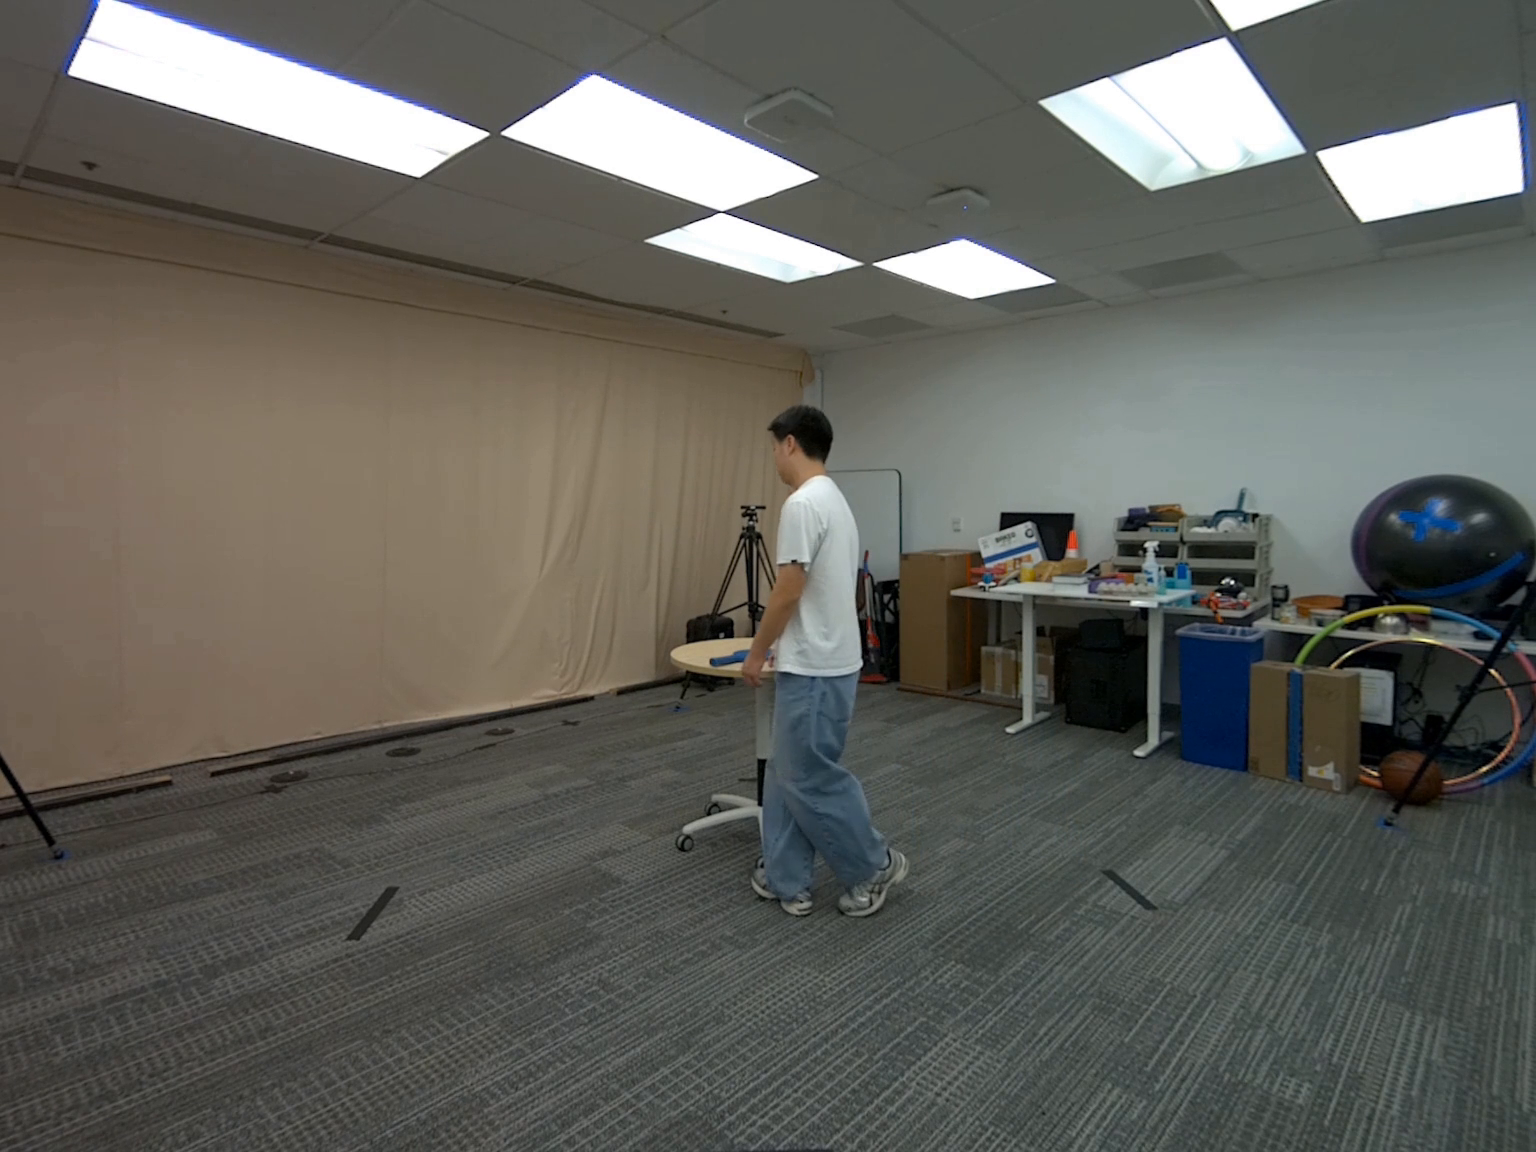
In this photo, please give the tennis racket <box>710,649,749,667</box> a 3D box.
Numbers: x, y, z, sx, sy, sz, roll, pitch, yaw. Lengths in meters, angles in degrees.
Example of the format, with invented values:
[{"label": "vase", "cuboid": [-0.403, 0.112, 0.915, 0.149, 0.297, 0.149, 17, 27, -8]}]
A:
[{"label": "tennis racket", "cuboid": [-0.075, 0.321, 3.348, 0.221, 0.032, 0.419, 4, 4, 43]}]
